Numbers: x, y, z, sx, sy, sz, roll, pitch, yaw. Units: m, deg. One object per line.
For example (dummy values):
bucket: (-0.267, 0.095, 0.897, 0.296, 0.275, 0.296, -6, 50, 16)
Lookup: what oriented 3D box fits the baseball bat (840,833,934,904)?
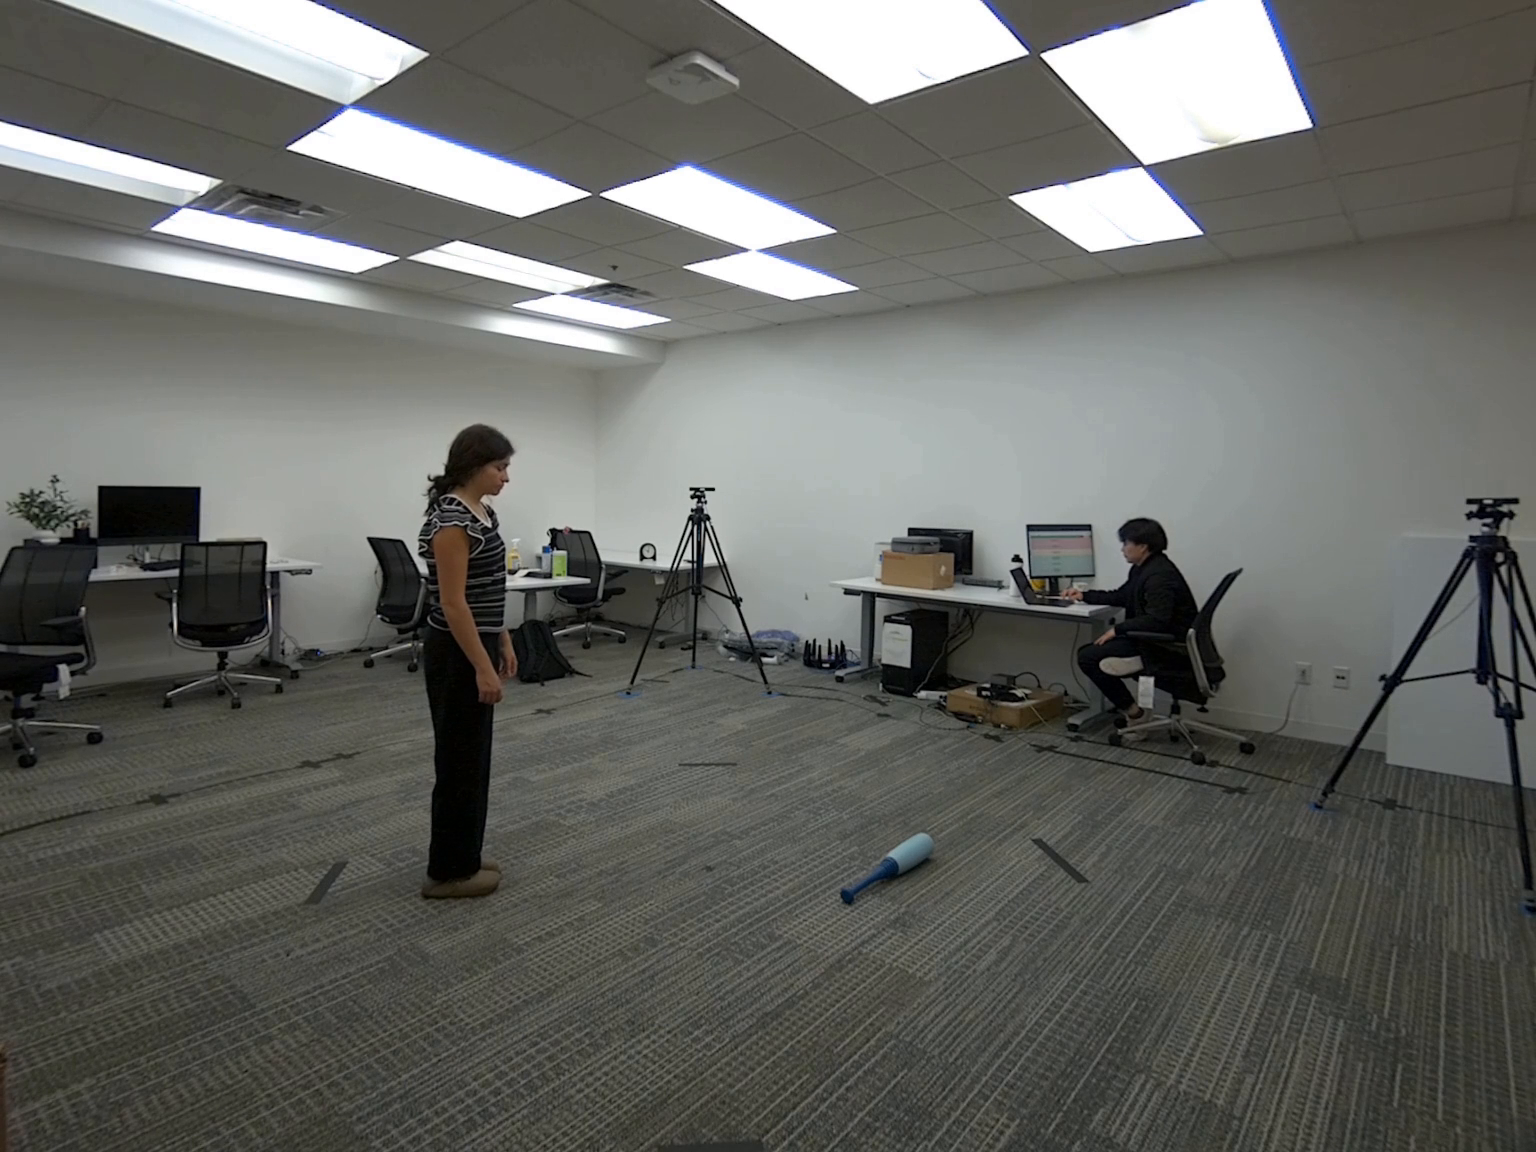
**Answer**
baseball bat: (0.427, 1.054, 3.056, 0.092, 0.088, 0.528, 4, 10, 41)
